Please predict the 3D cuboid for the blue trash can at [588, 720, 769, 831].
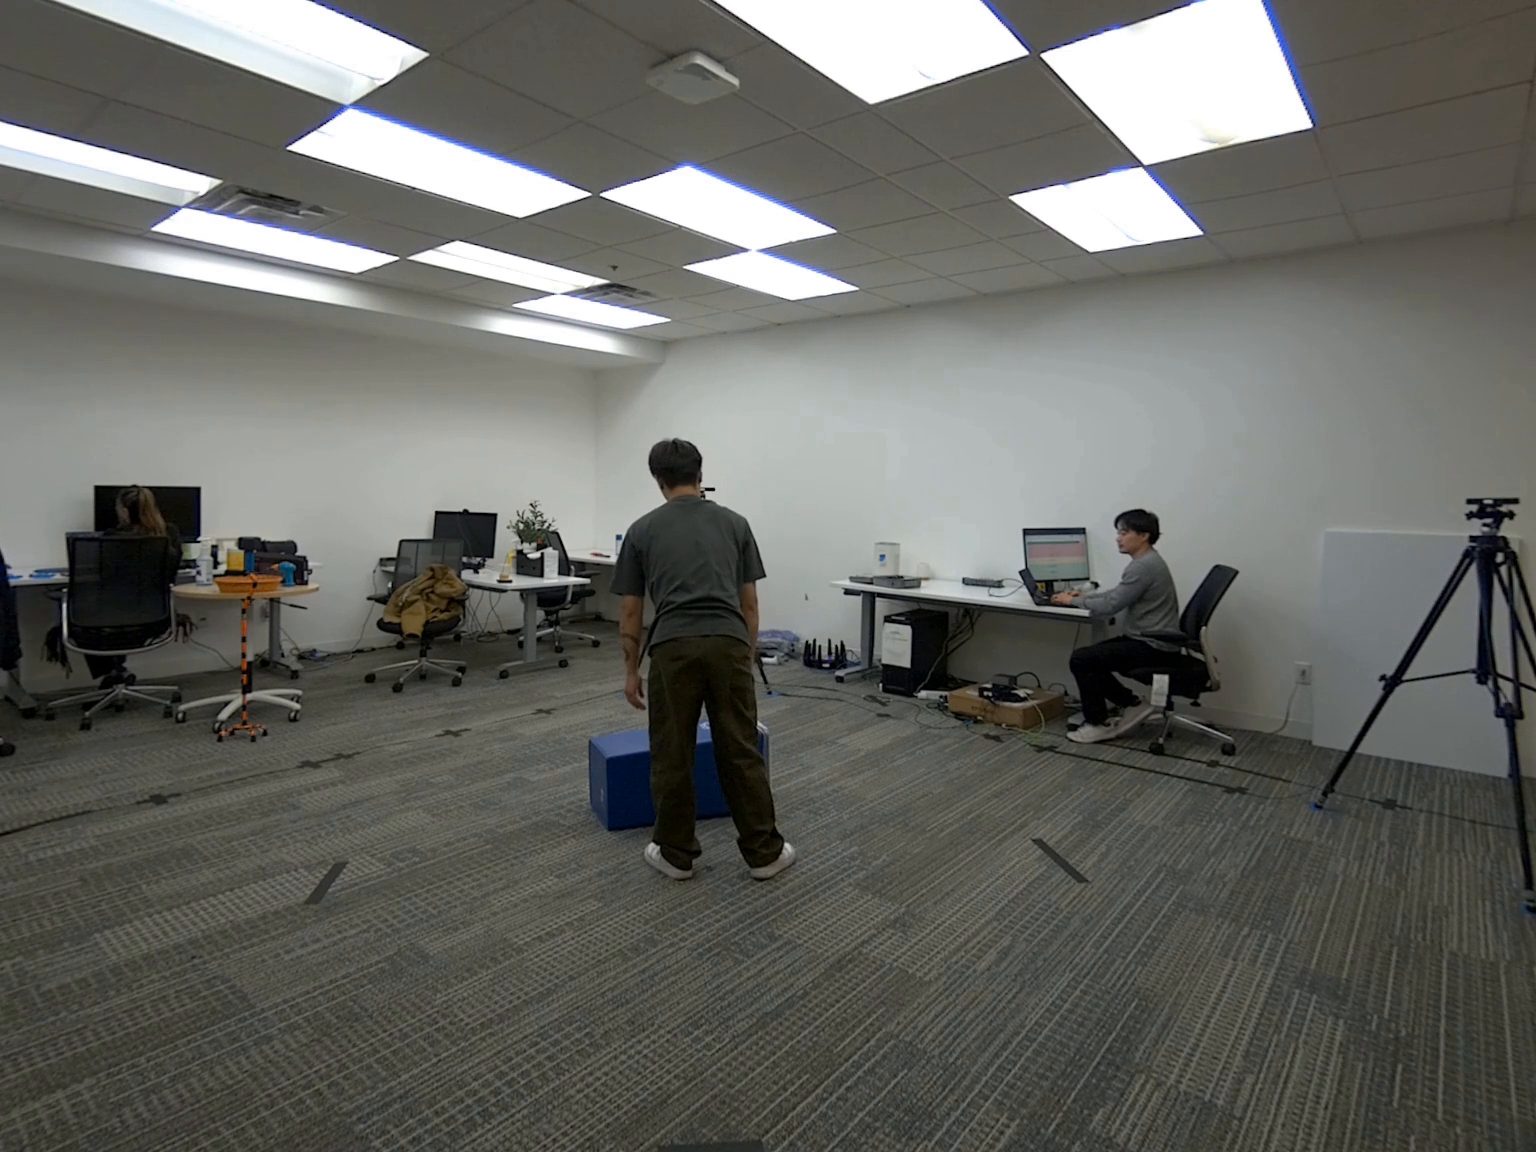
[{"bbox_3d":[-0.398,0.828,3.672,0.698,0.372,0.388,-3,6,-23],"label":"blue trash can"}]
